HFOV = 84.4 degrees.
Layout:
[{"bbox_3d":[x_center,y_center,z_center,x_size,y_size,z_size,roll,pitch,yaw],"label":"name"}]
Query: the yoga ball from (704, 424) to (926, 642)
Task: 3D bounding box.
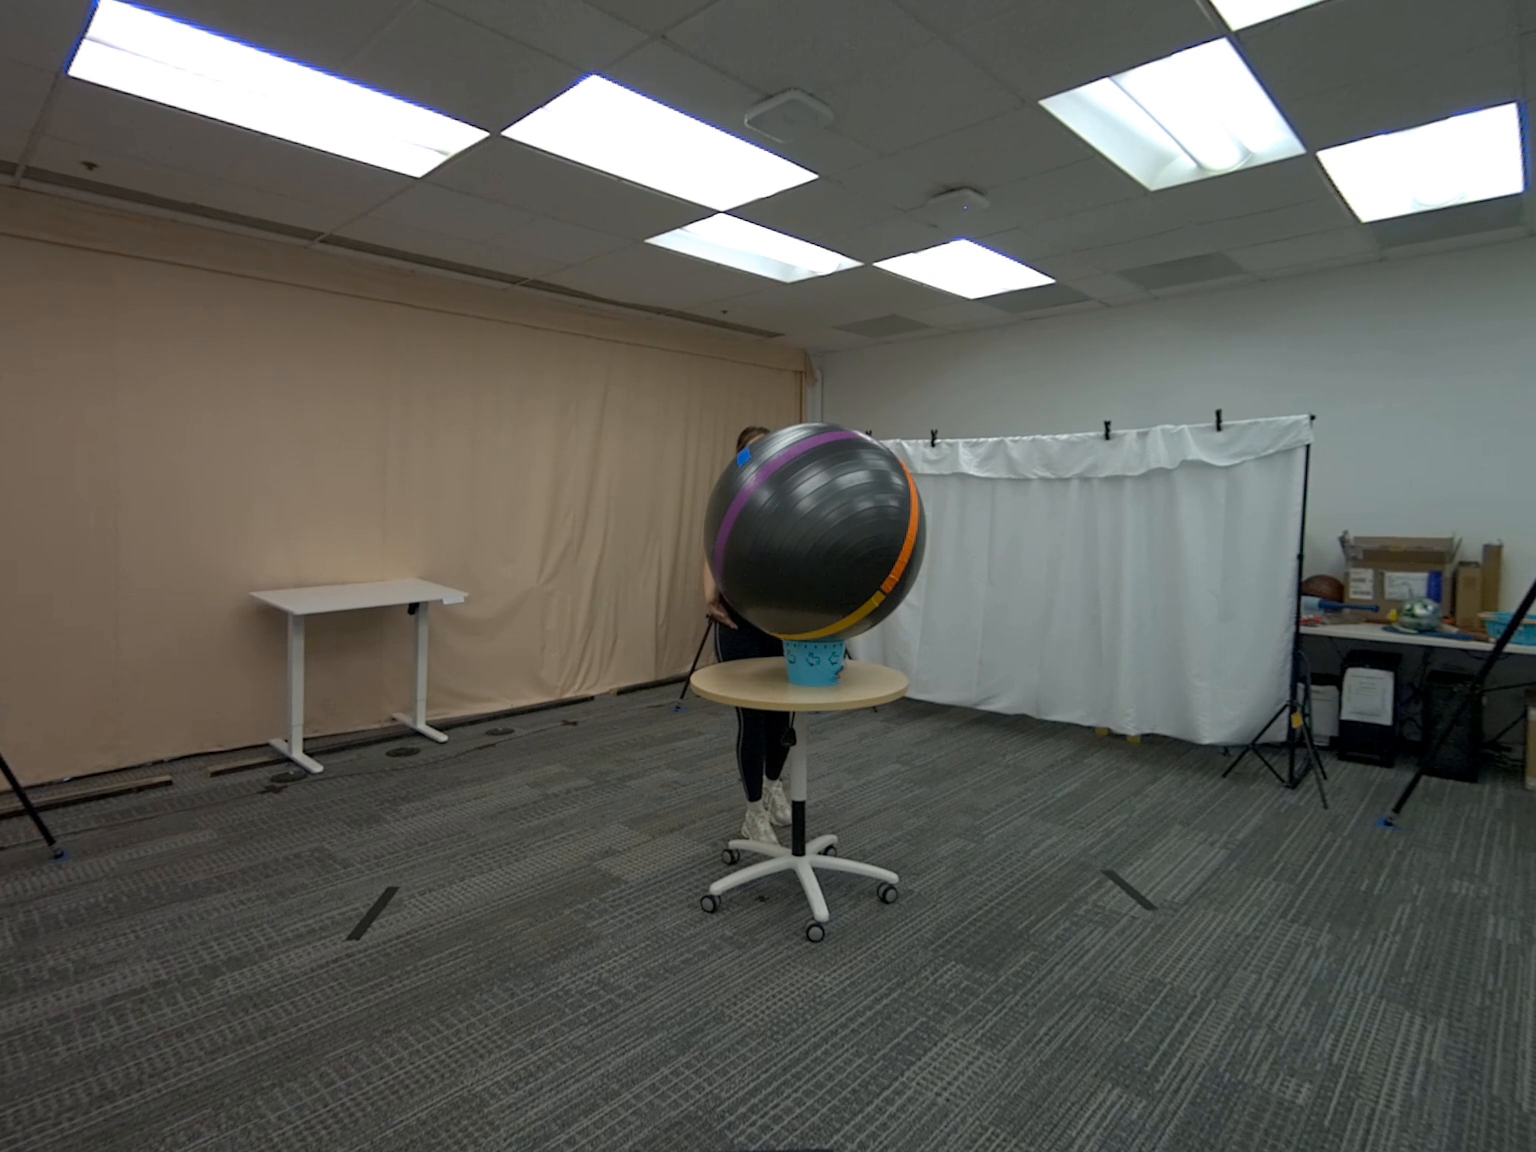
[{"bbox_3d":[0.160,-0.141,2.897,0.757,0.756,0.761,0,4,-2],"label":"yoga ball"}]
